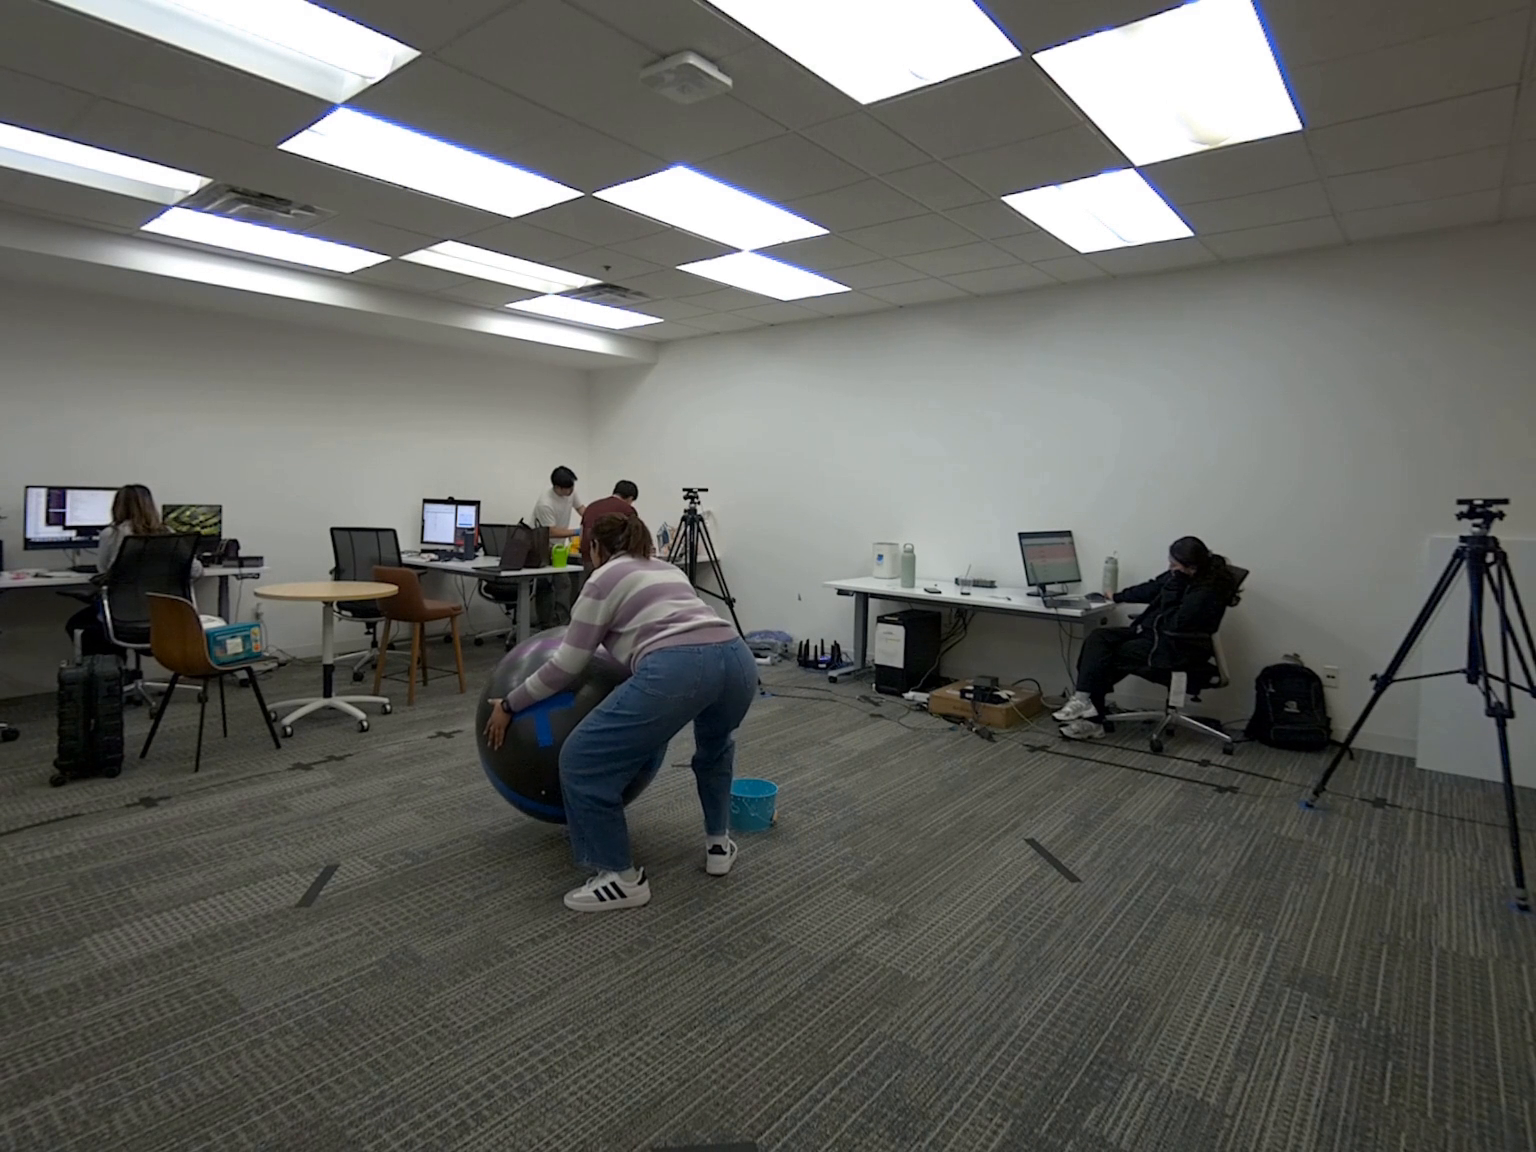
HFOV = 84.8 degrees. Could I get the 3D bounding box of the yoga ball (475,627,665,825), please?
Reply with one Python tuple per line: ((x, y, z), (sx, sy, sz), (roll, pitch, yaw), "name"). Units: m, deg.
((-0.779, 0.577, 3.353), (0.757, 0.756, 0.761), (1, 4, -2), "yoga ball")
